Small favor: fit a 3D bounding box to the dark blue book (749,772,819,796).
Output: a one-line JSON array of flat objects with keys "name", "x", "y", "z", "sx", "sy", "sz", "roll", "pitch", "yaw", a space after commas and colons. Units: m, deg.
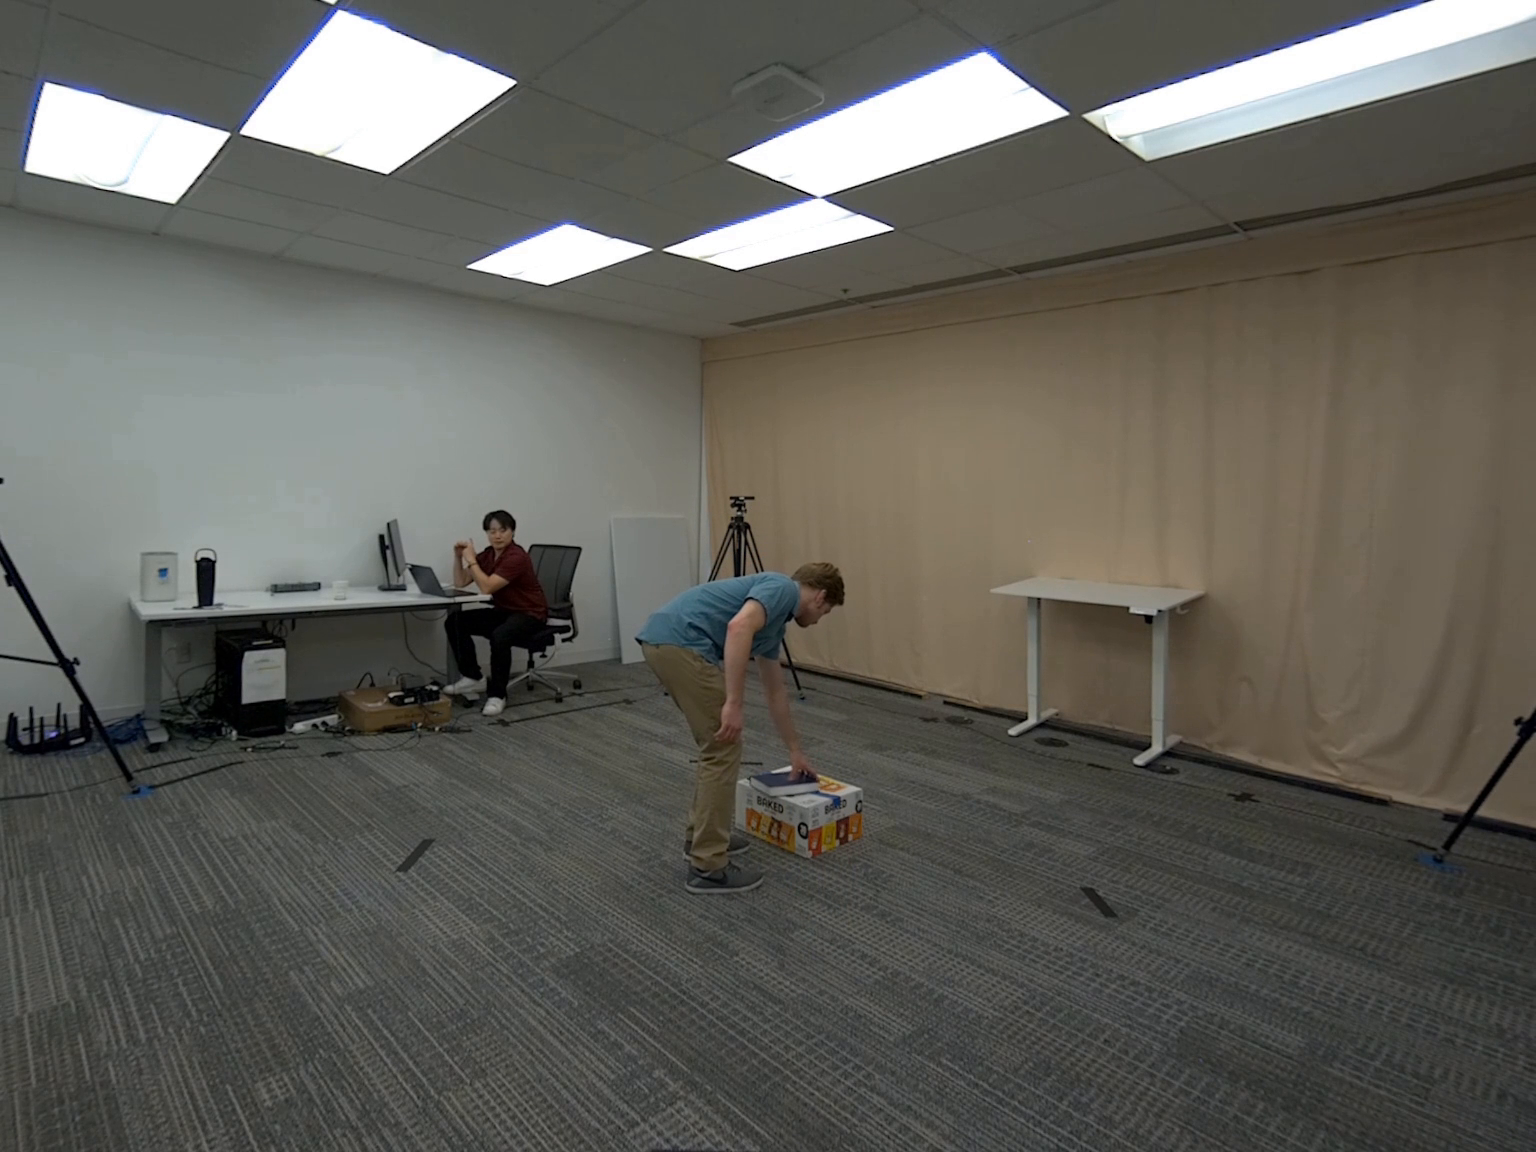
[{"name": "dark blue book", "x": 0.059, "y": 0.861, "z": 3.488, "sx": 0.240, "sy": 0.045, "sz": 0.167, "roll": 4, "pitch": 2, "yaw": -31}]
